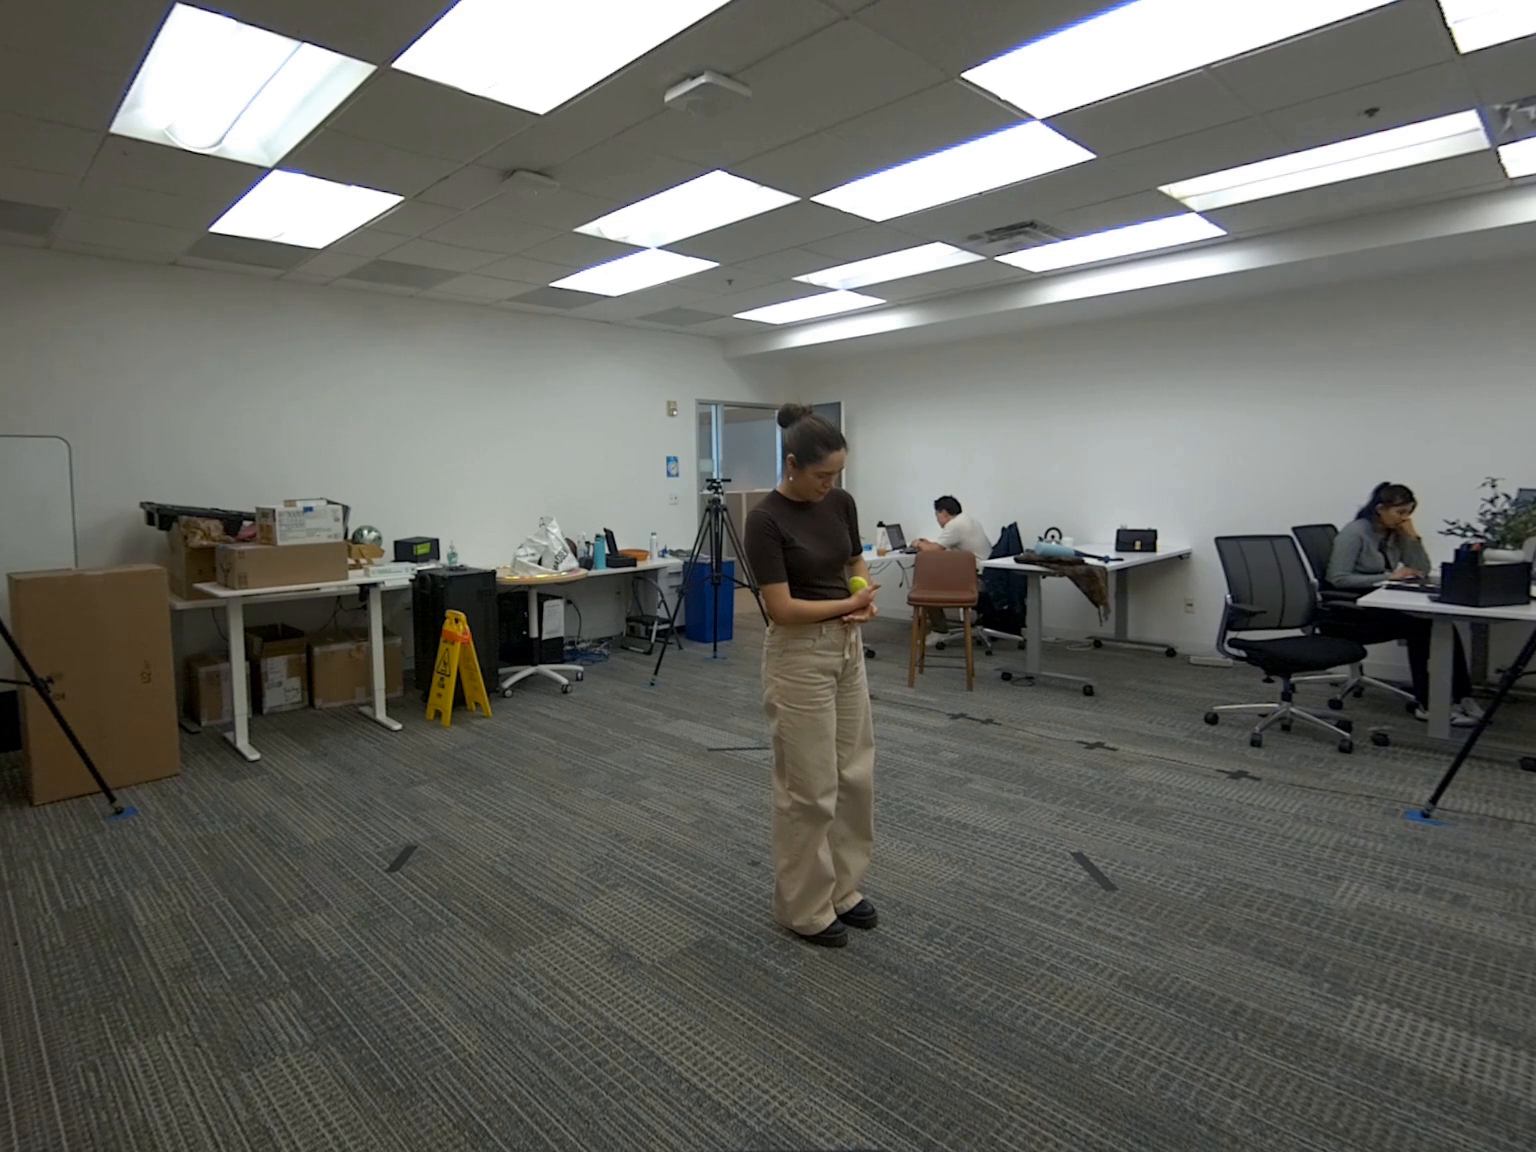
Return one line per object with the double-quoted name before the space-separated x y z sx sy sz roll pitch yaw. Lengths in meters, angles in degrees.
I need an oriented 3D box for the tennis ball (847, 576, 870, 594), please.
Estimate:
"tennis ball" 0.265 0.036 2.645 0.066 0.066 0.067 -1 5 -2
